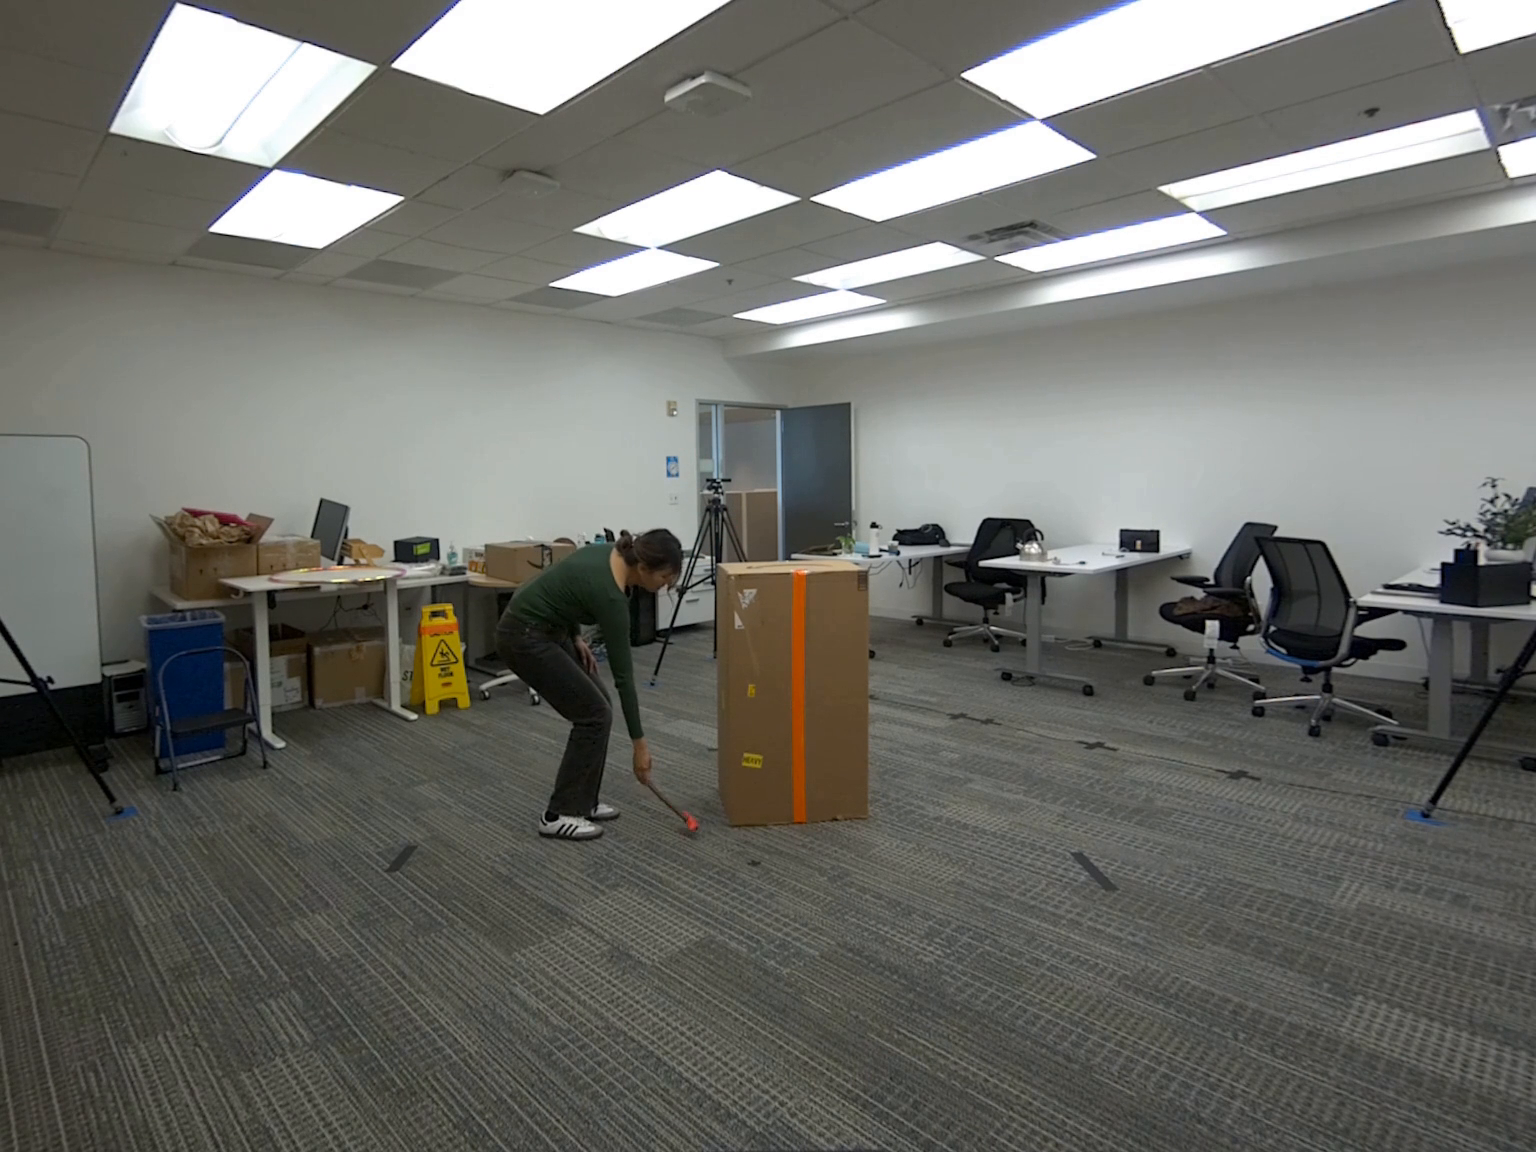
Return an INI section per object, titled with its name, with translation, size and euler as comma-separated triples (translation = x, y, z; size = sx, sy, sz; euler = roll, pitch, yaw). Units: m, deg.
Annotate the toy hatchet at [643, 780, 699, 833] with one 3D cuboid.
[toy hatchet]
translation = -0.382, 0.909, 3.390
size = 0.278, 0.029, 0.127
euler = 43, 4, 23
